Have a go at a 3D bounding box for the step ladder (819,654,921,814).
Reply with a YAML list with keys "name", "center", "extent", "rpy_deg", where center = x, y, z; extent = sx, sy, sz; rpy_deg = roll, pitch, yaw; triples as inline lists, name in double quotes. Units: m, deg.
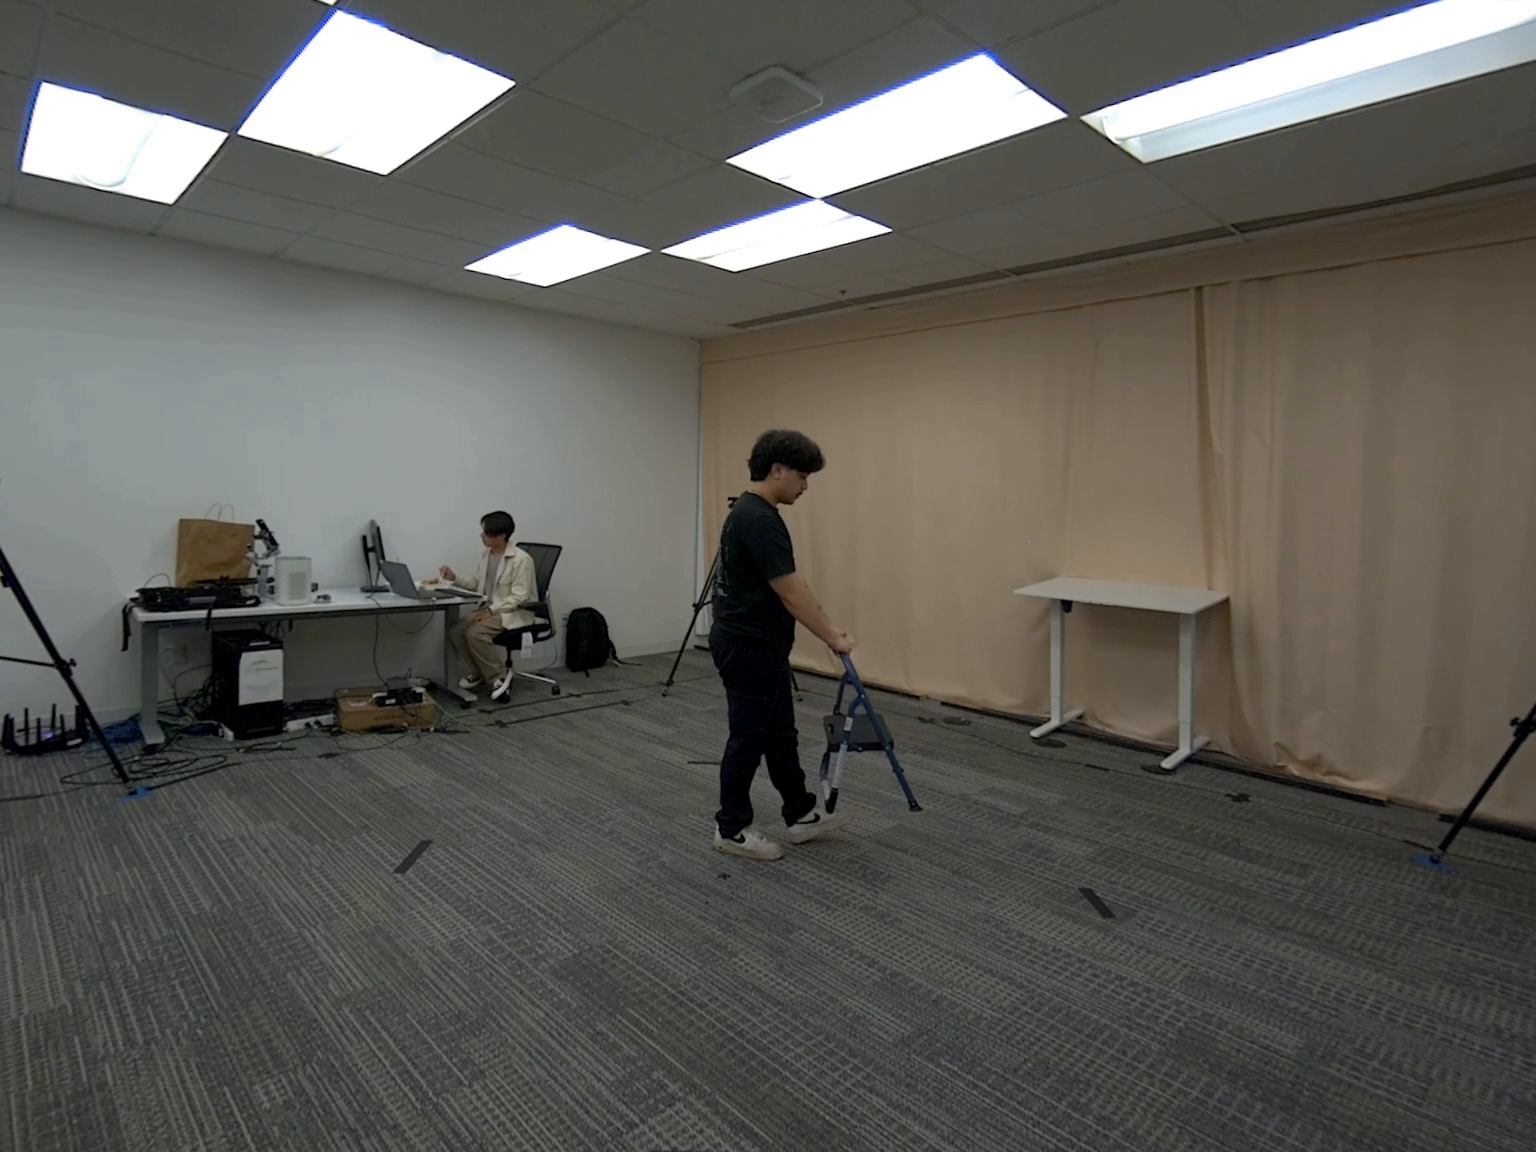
- name: "step ladder"
  center: [0.360, 0.554, 3.292]
  extent: [0.349, 0.603, 0.432]
  rpy_deg: [-4, 6, 0]
